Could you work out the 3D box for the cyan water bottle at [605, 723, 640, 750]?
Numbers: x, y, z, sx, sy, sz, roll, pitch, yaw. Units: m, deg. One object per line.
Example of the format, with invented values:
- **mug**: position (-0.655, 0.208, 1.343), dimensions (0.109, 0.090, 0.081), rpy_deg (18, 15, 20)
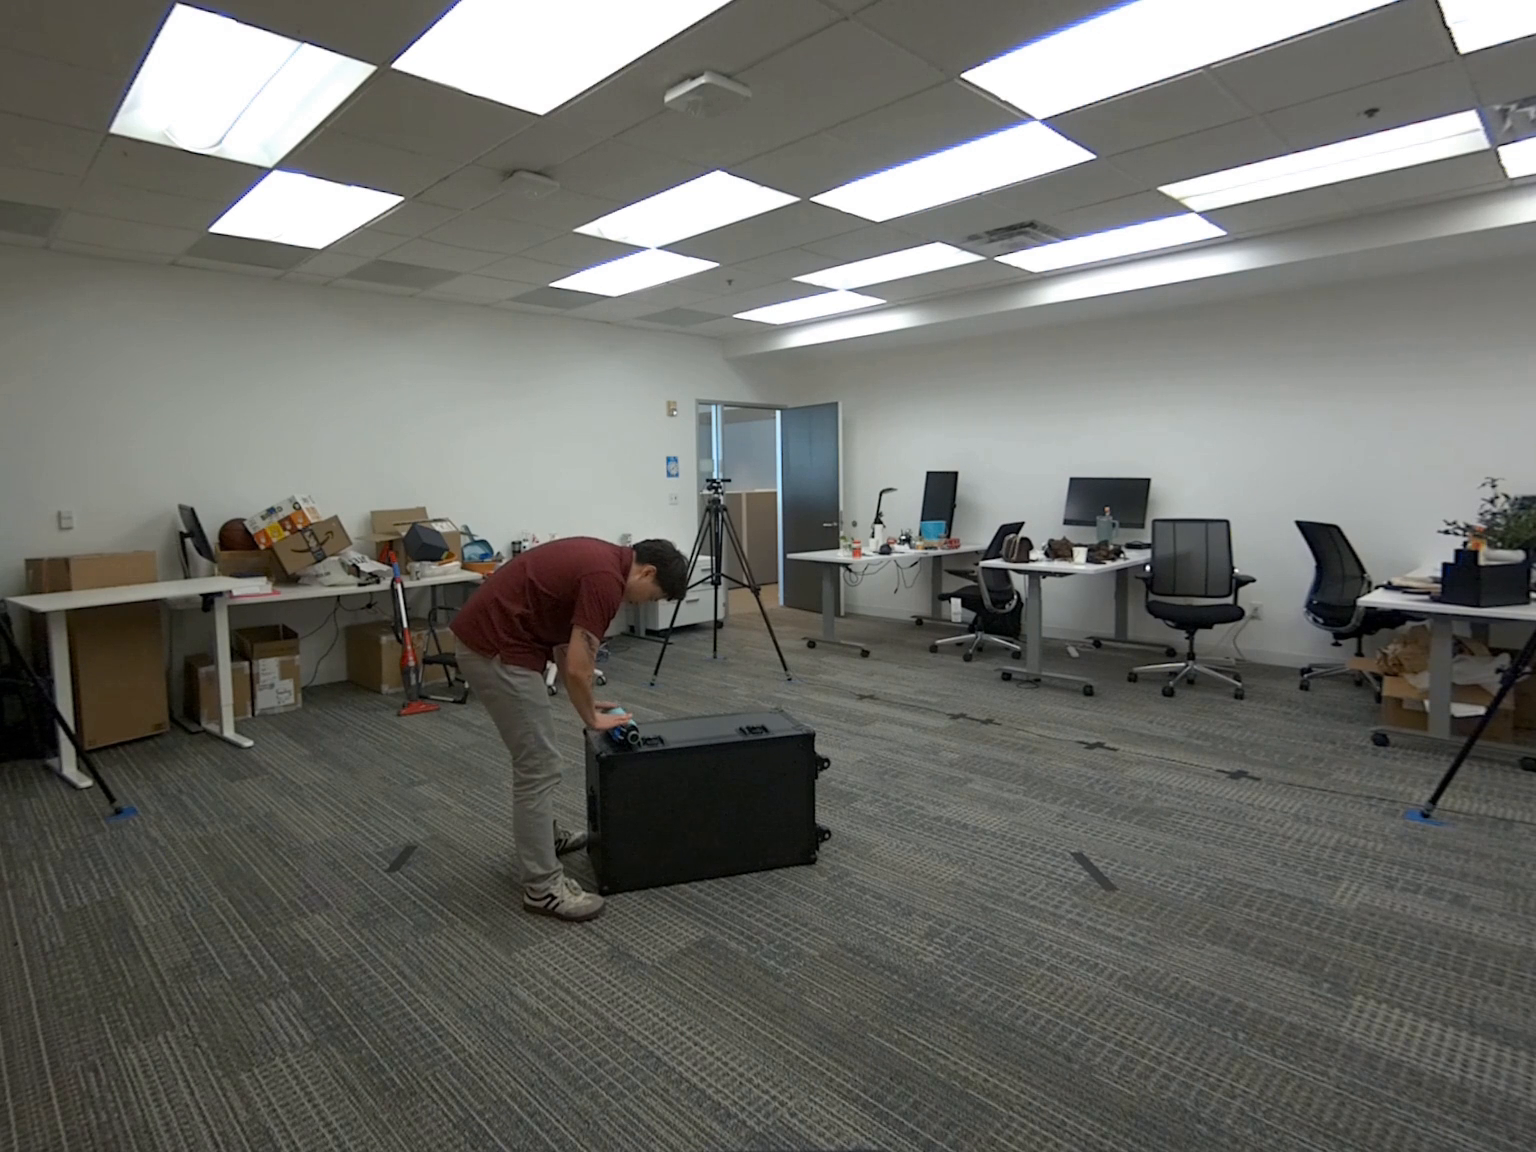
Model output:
- **cyan water bottle**: position (-0.524, 0.531, 3.043), dimensions (0.091, 0.092, 0.289), rpy_deg (-3, 6, -20)
